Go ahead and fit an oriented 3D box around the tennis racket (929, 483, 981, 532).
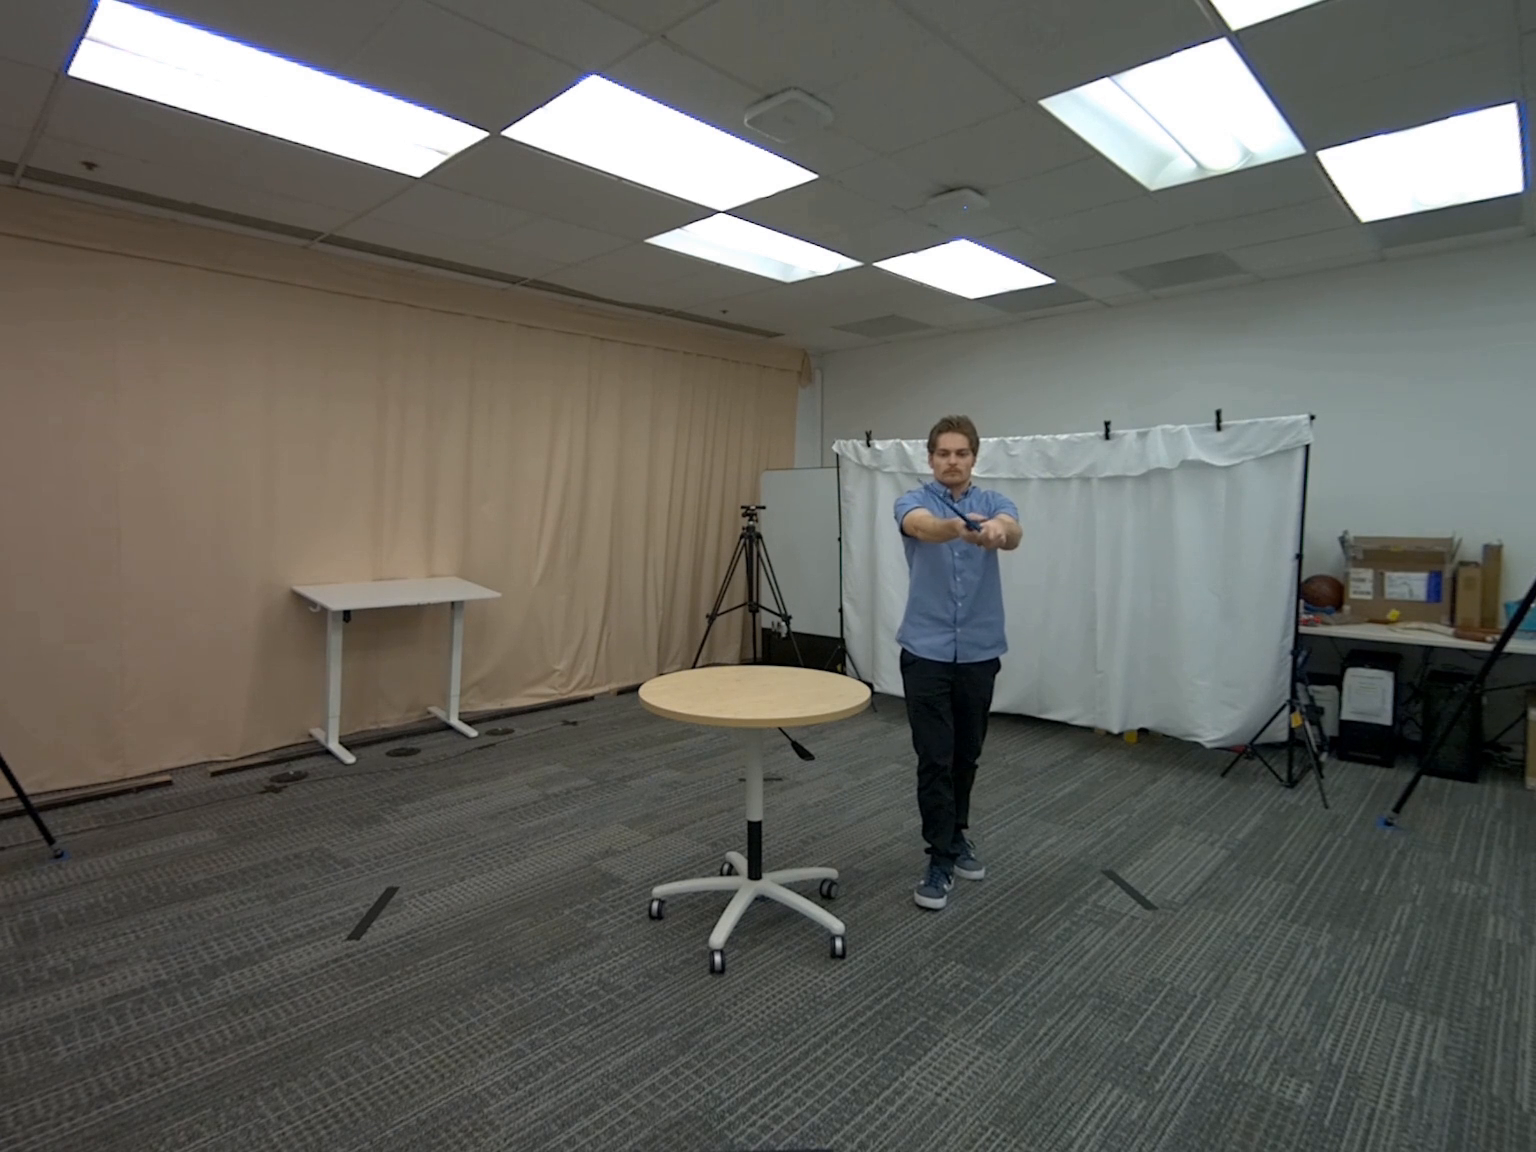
[{"bbox_3d":[0.554,-0.182,2.427,0.032,0.220,0.418,-44,-29,14],"label":"tennis racket"}]
